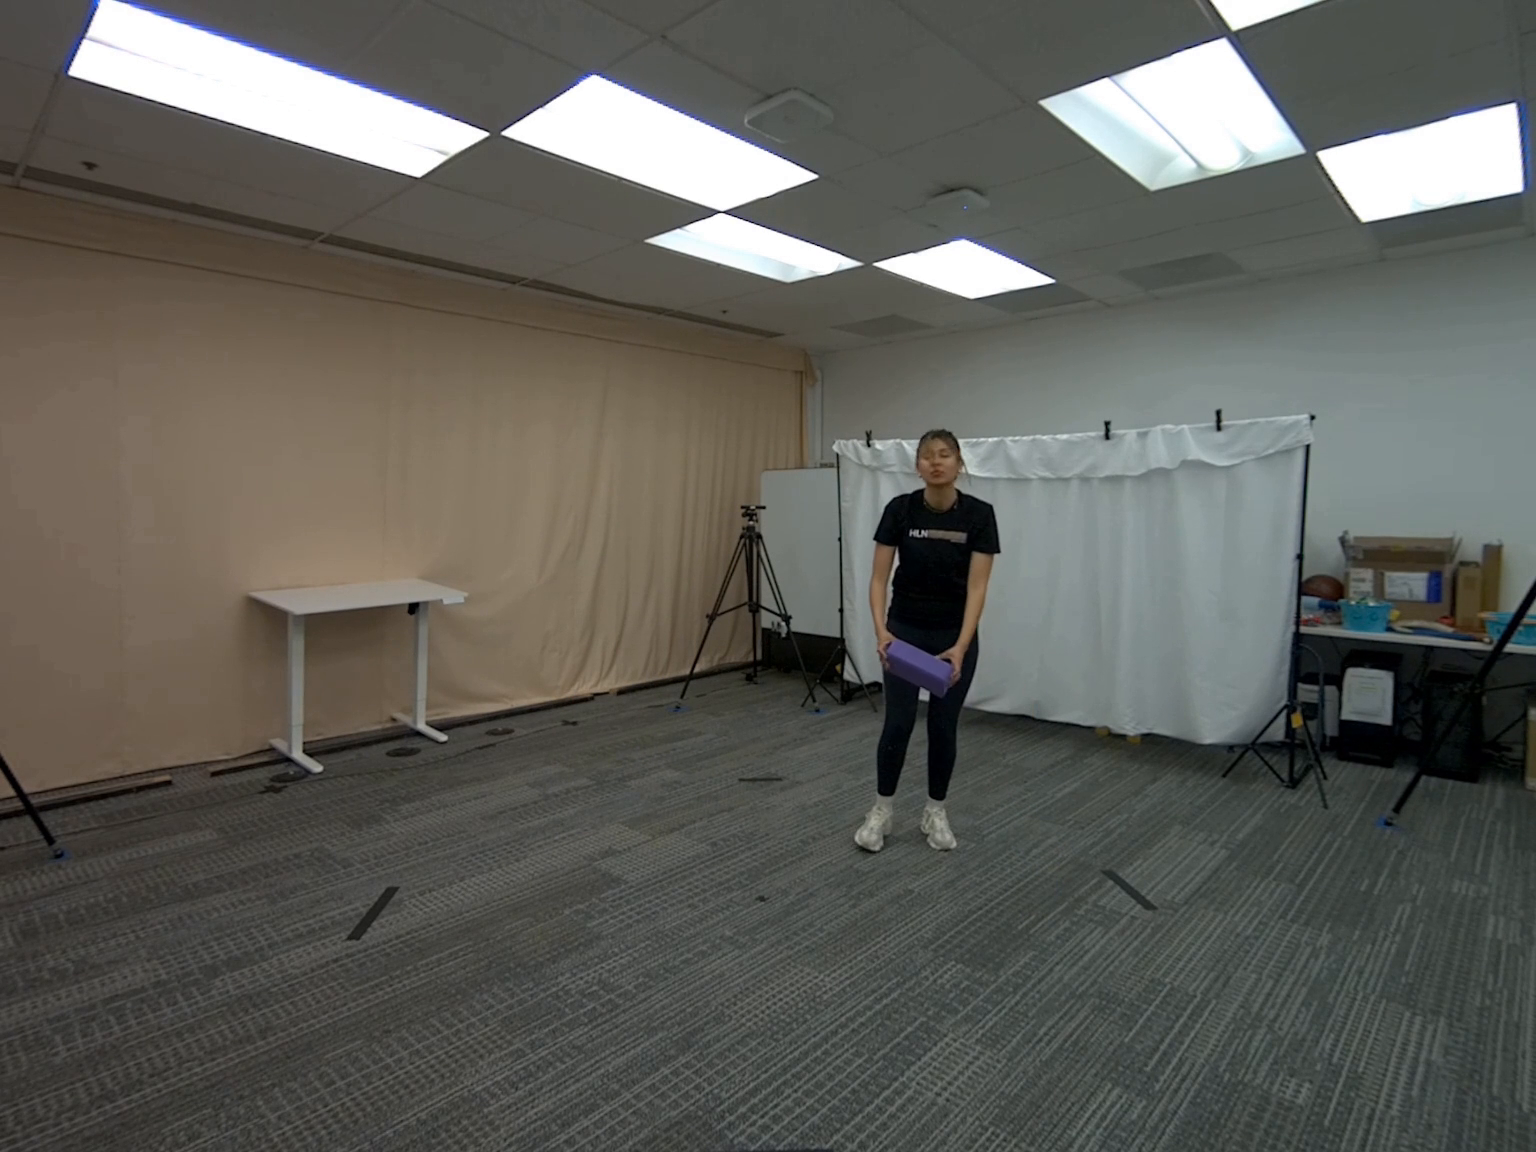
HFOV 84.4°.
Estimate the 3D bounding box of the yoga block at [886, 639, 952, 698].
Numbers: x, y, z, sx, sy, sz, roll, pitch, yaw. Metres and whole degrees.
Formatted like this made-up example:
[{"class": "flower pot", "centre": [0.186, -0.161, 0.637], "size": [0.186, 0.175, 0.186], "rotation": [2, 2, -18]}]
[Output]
[{"class": "yoga block", "centre": [0.581, 0.344, 3.071], "size": [0.236, 0.076, 0.145], "rotation": [27, -25, 24]}]
